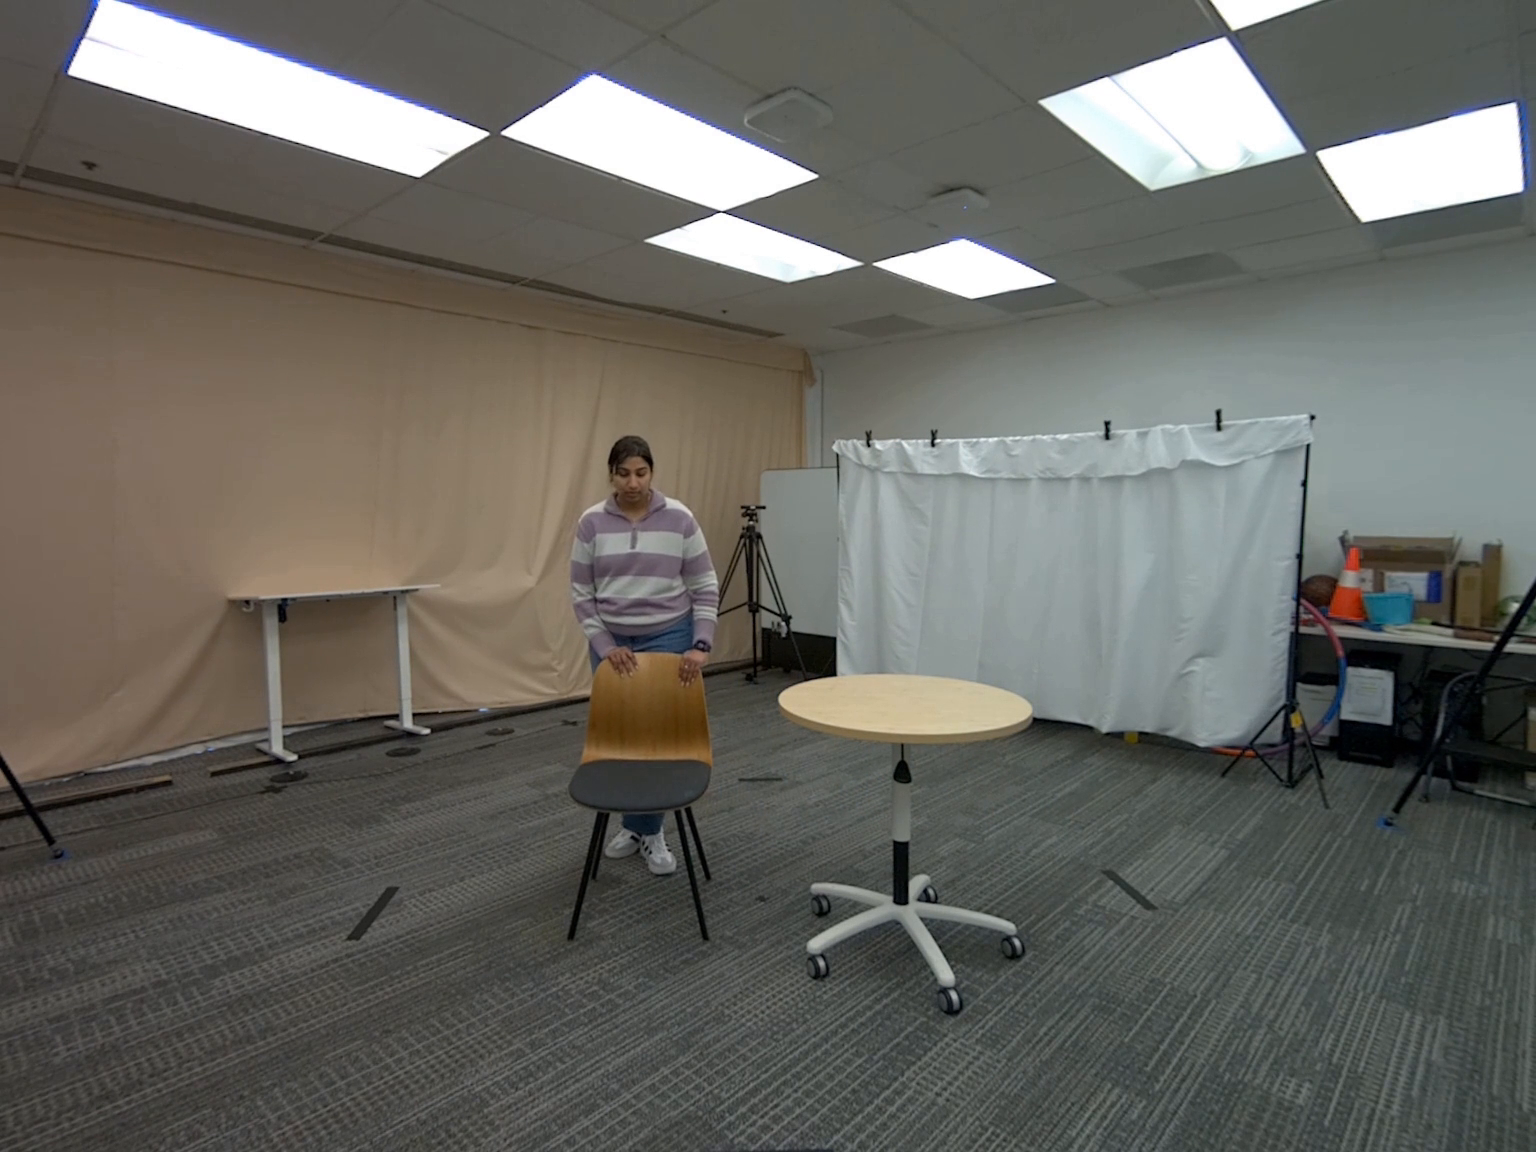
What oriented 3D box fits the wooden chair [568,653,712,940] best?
[{"bbox_3d":[-0.422,0.729,2.885,0.478,0.878,0.522,-1,-1,-1],"label":"wooden chair"}]
